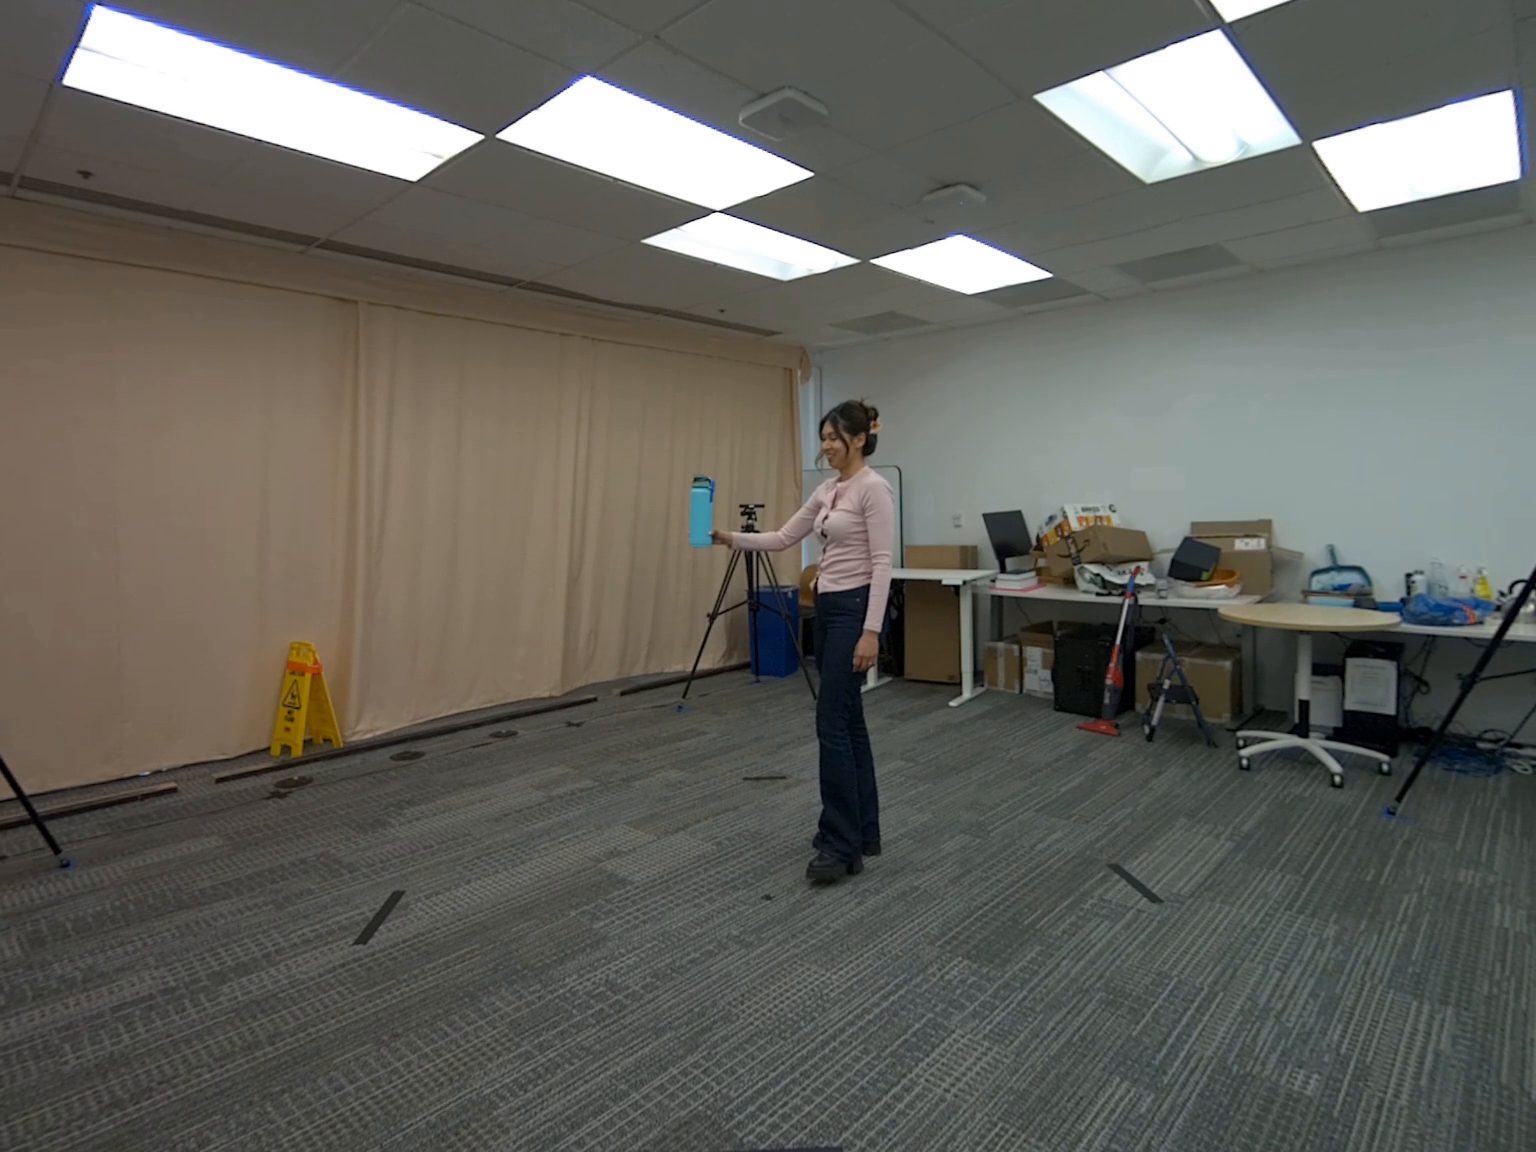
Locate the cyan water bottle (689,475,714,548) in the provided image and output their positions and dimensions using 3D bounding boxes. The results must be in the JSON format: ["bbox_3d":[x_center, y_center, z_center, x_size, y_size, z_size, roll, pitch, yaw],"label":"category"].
[{"bbox_3d":[-0.253,-0.262,3.310,0.092,0.283,0.093,3,4,-2],"label":"cyan water bottle"}]
